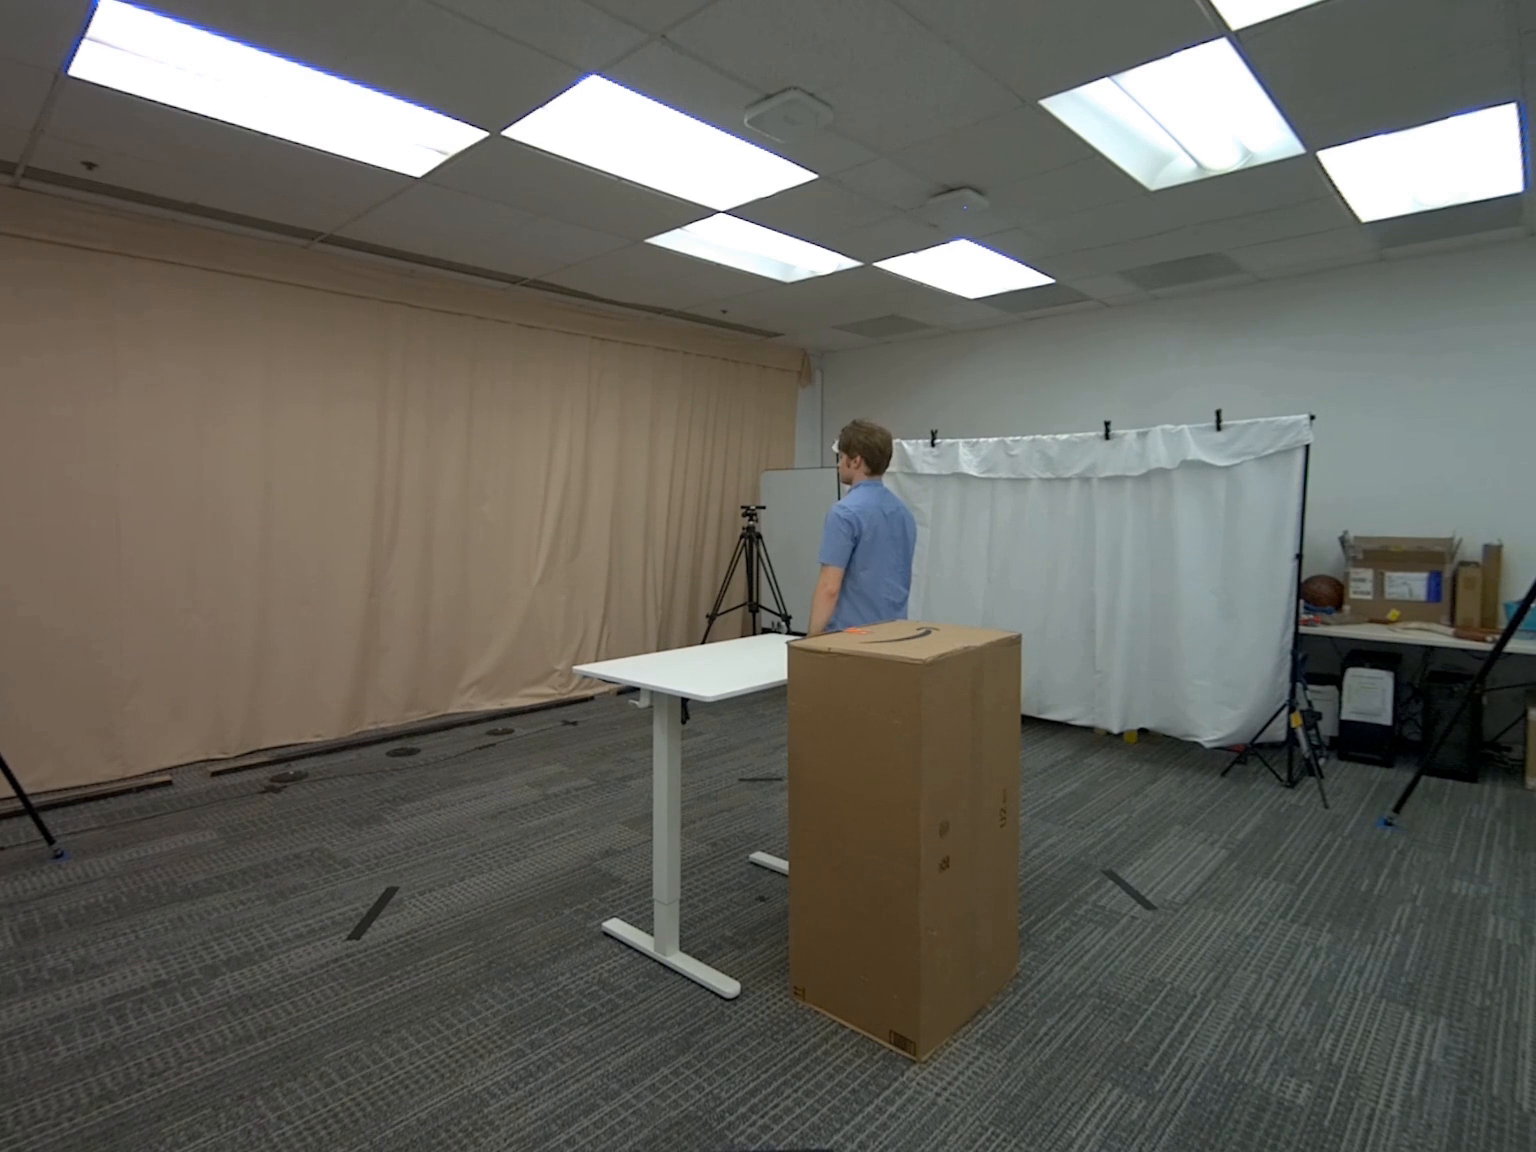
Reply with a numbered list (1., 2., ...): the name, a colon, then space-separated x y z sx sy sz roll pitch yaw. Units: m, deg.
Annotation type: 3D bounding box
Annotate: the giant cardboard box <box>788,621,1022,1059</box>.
1. giant cardboard box: 0.397 0.677 2.418 0.440 1.024 0.560 3 5 42
